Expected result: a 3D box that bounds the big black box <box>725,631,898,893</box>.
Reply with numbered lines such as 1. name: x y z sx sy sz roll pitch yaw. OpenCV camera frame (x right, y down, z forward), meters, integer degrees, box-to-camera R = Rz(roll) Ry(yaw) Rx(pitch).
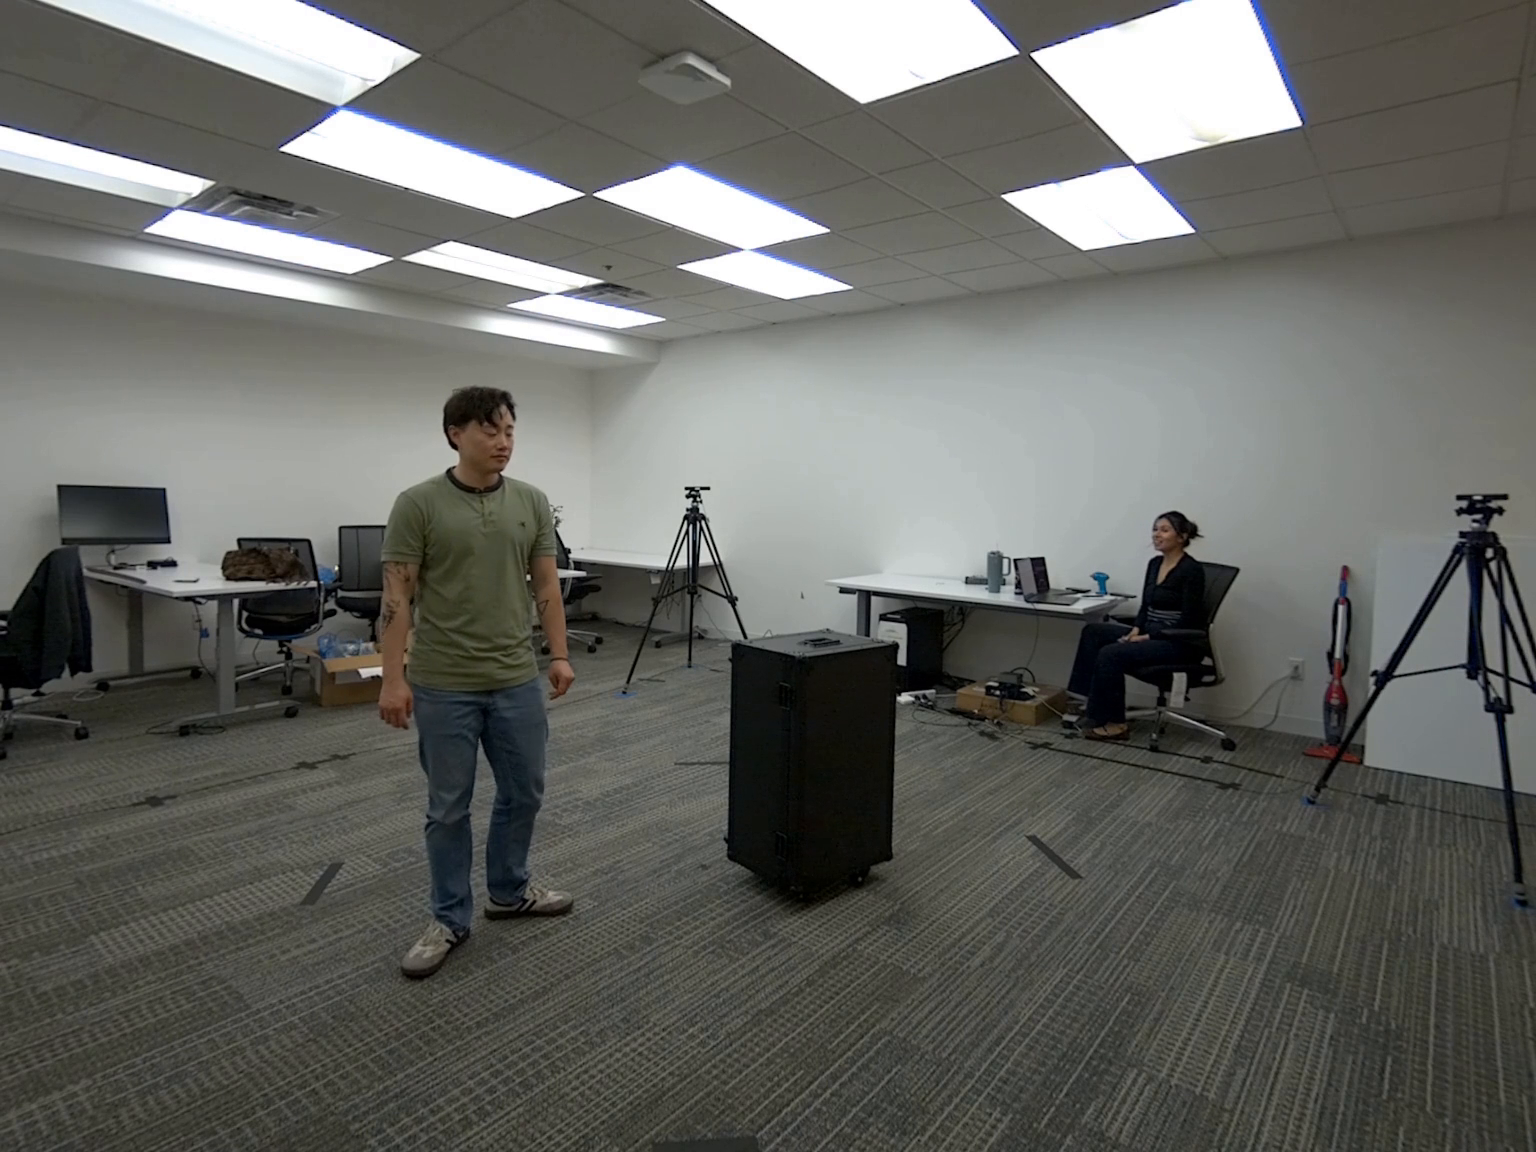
1. big black box: 0.138 0.654 3.028 0.505 0.859 0.409 -2 4 -40
